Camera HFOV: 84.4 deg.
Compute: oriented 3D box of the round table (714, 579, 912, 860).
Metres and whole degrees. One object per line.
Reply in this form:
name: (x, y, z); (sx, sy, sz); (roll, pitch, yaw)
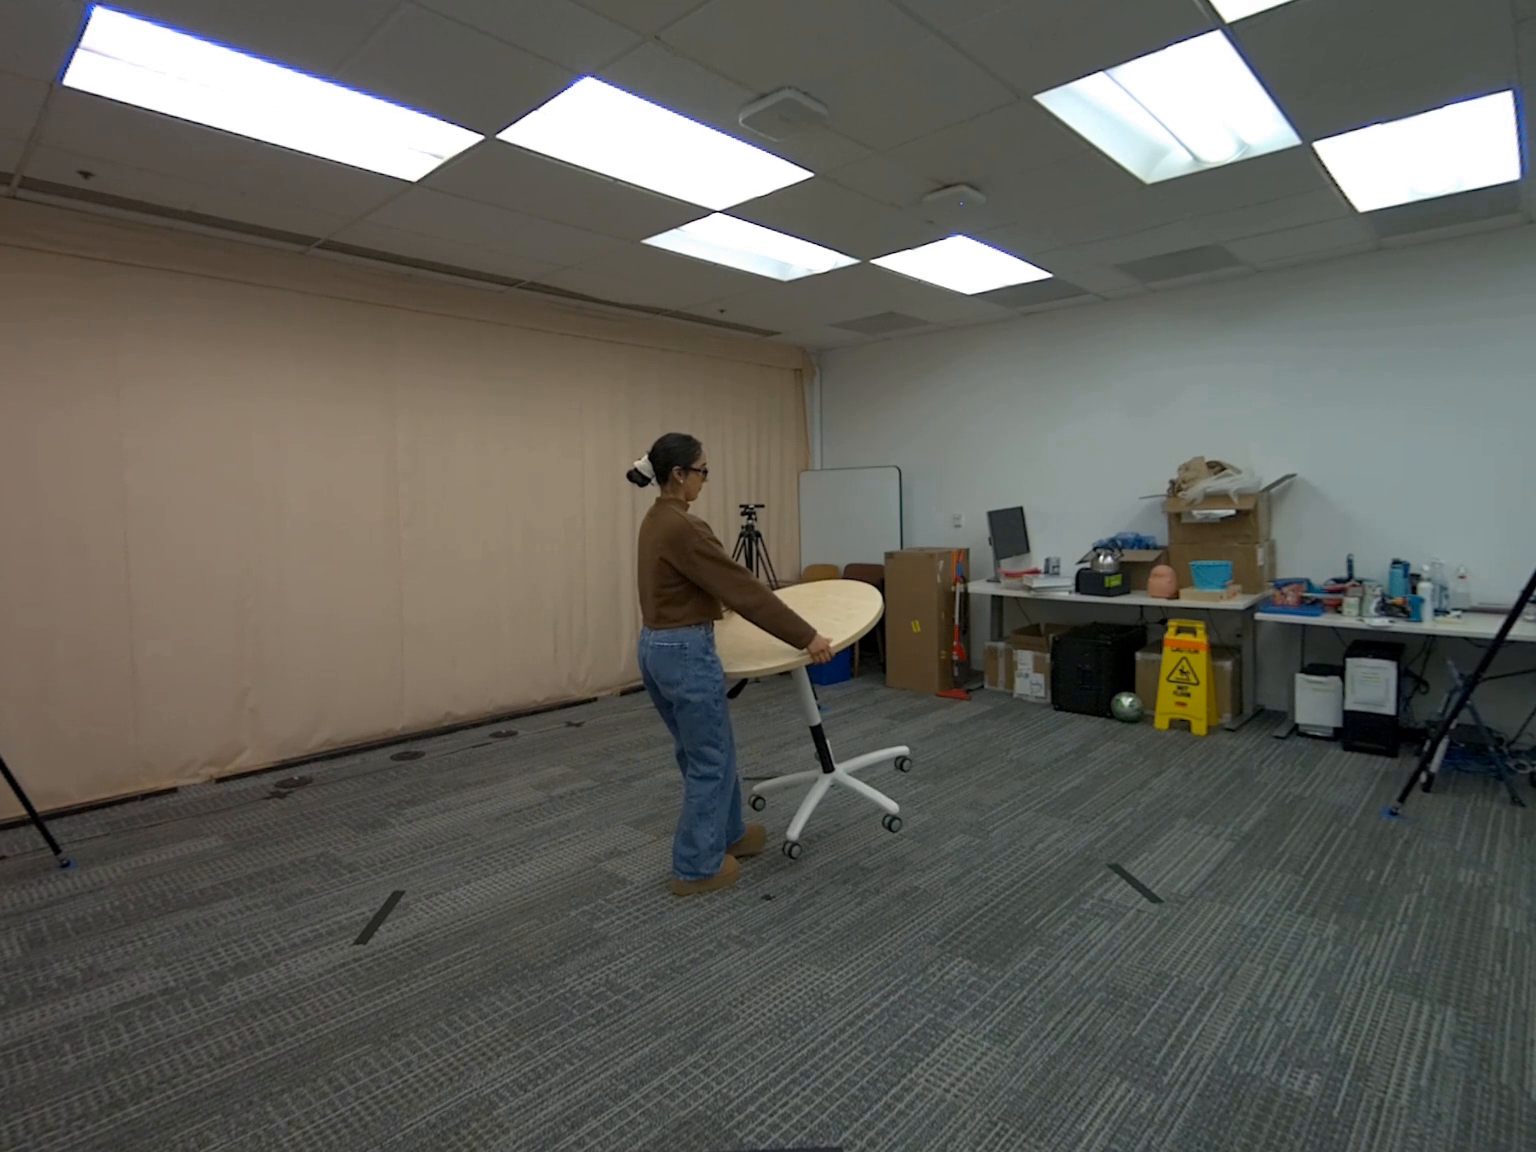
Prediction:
round table: (0.184, 0.539, 3.322); (0.788, 0.775, 0.794); (-17, 16, 3)
